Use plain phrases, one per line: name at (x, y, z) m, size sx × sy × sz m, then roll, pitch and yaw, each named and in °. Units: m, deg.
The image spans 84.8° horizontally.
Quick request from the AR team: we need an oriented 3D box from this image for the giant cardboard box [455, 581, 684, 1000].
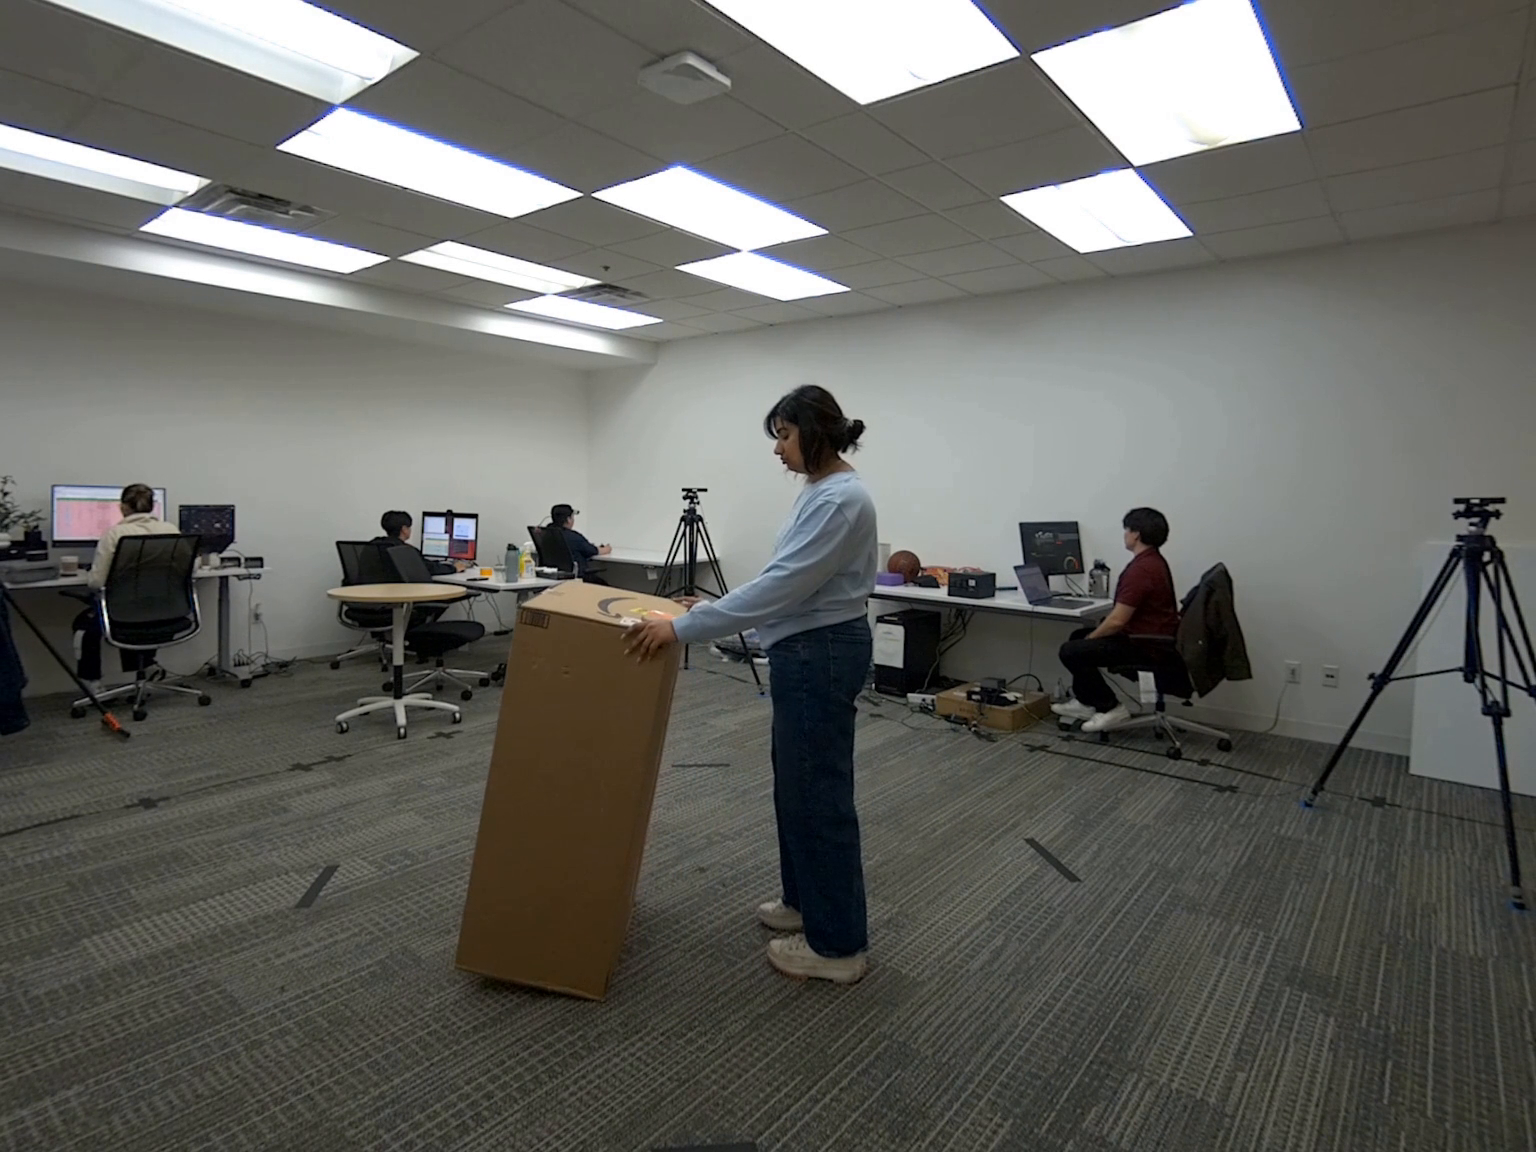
giant cardboard box at (-0.560, 0.583, 2.559) m, size 0.448 × 1.024 × 0.584 m, roll 11°, pitch 4°, yaw 1°
